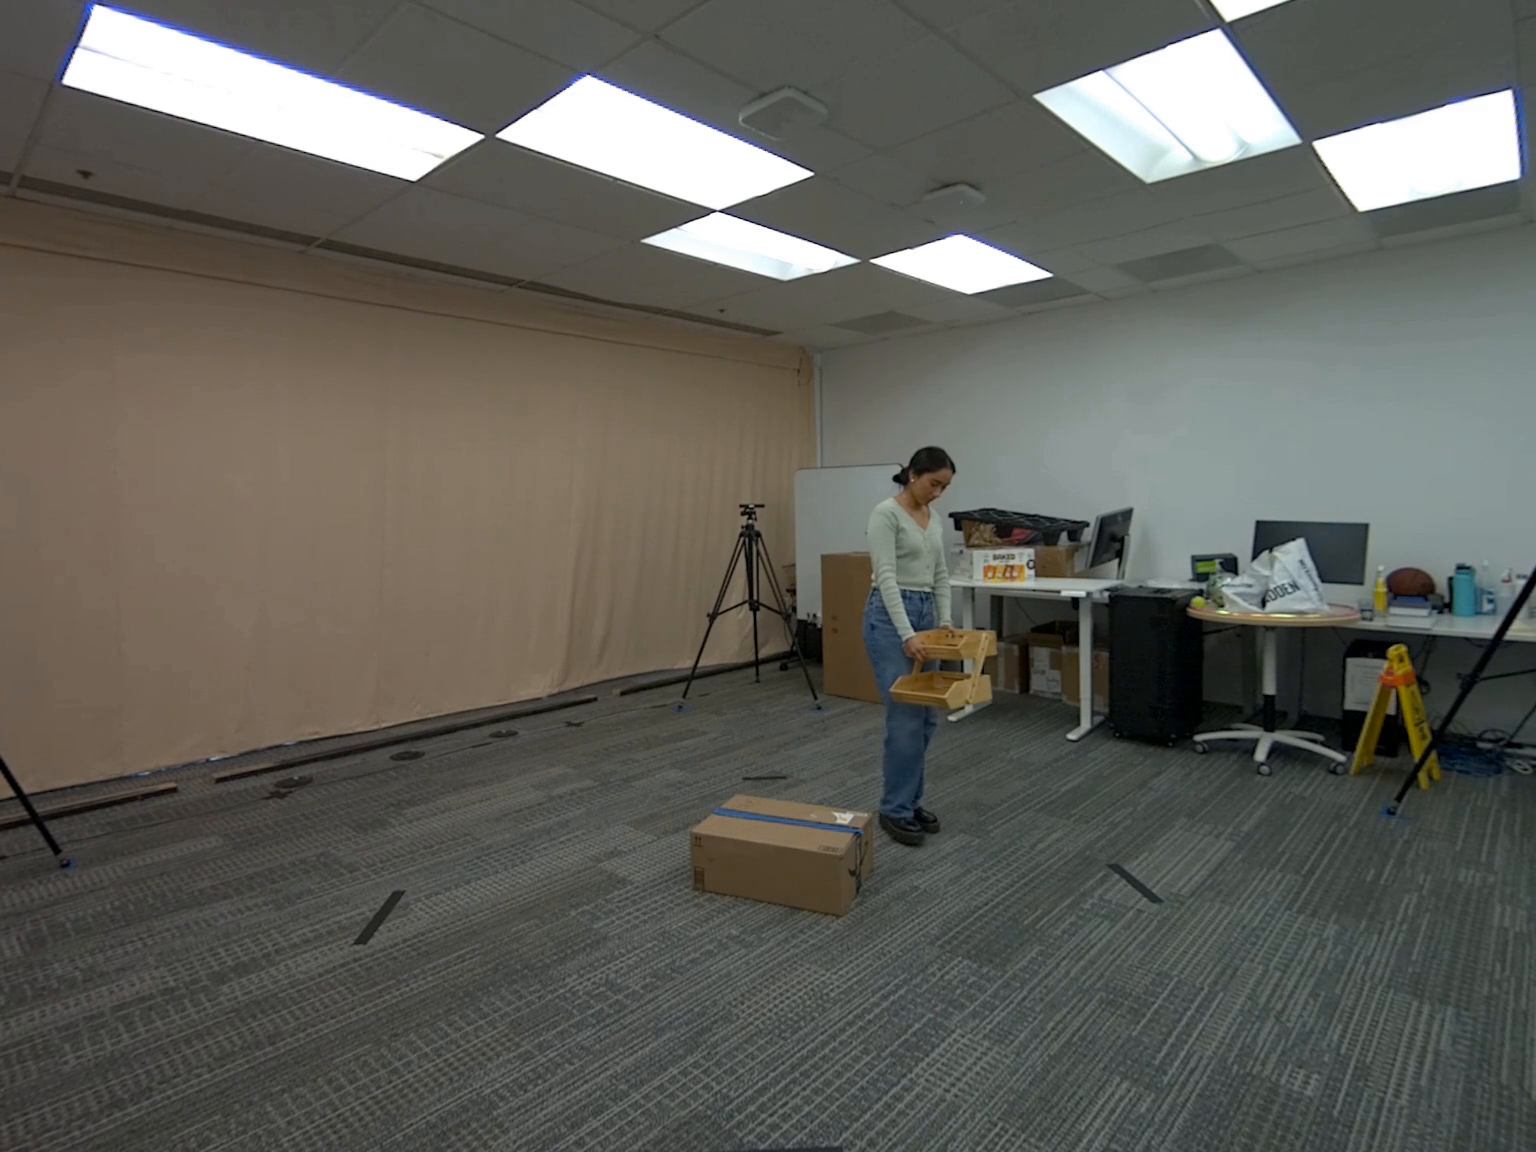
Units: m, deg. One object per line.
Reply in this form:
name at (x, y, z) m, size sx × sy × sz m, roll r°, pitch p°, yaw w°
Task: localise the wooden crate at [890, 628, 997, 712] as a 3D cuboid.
wooden crate at (0.684, 0.352, 3.321) m, size 0.294 × 0.273 × 0.333 m, roll -4°, pitch 0°, yaw -34°
